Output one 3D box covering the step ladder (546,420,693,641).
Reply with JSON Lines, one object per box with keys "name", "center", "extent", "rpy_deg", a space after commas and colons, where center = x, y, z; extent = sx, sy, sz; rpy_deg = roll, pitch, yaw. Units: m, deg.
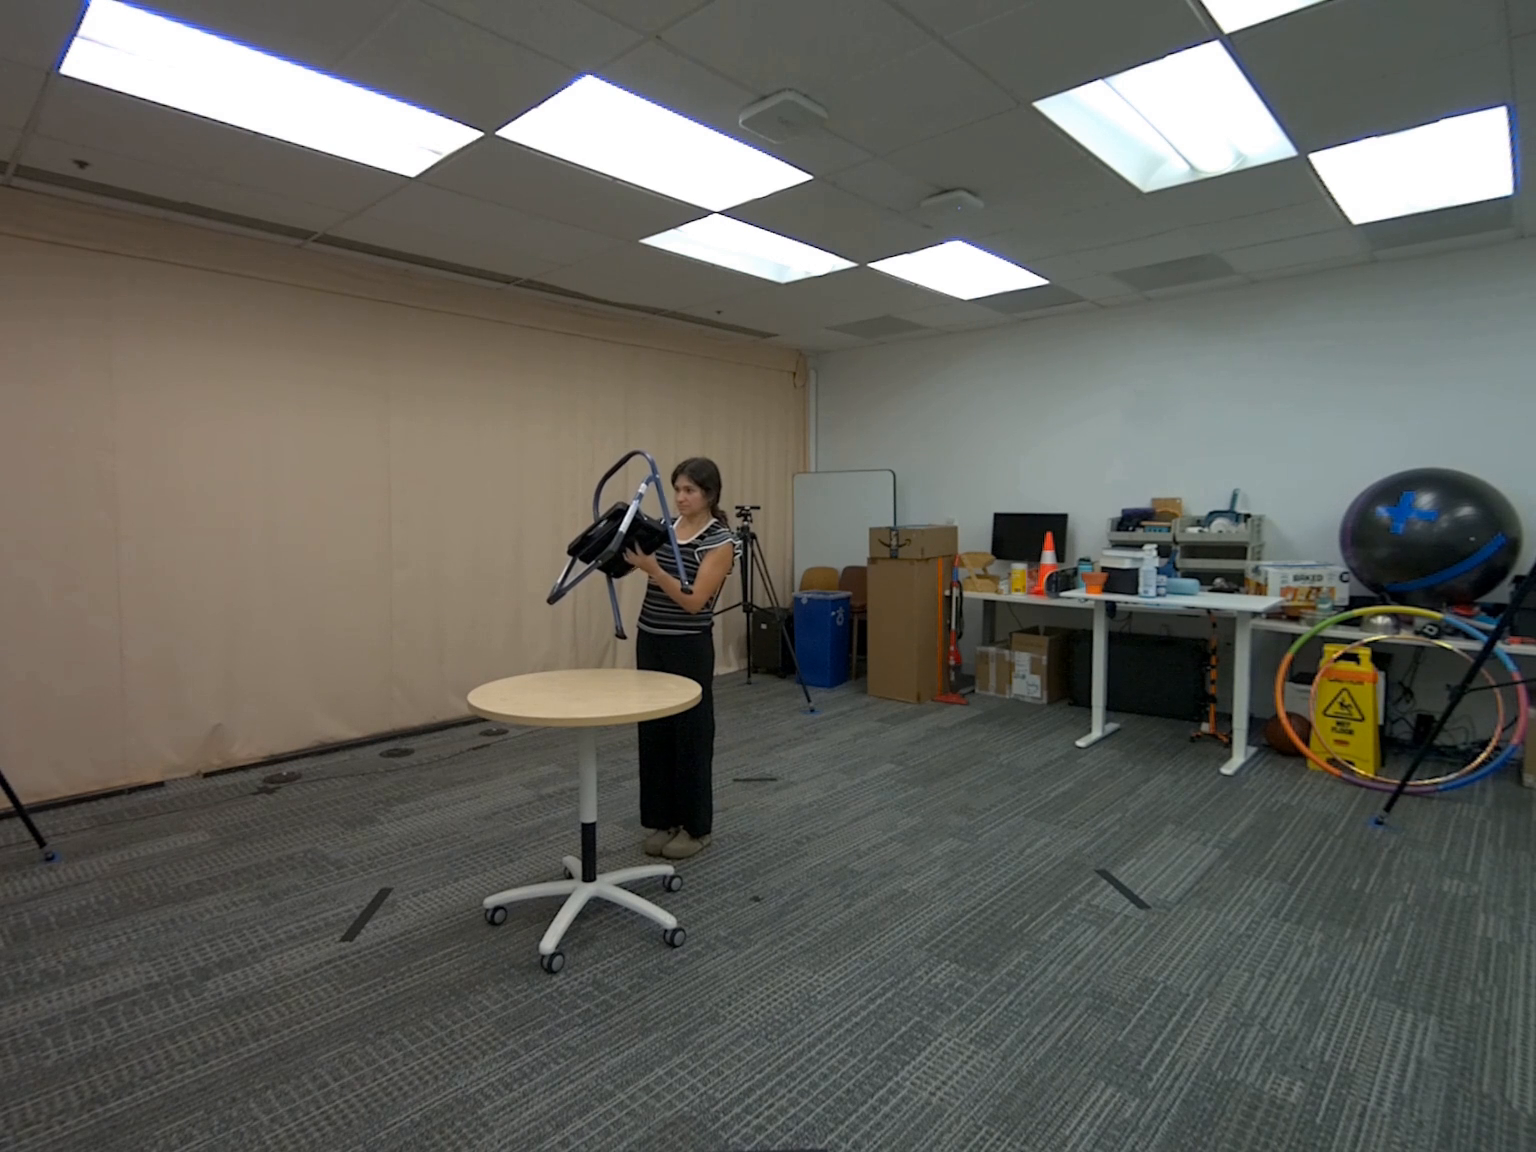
{"name": "step ladder", "center": [-0.521, -0.168, 3.160], "extent": [0.338, 0.617, 0.437], "rpy_deg": [29, -46, -33]}
